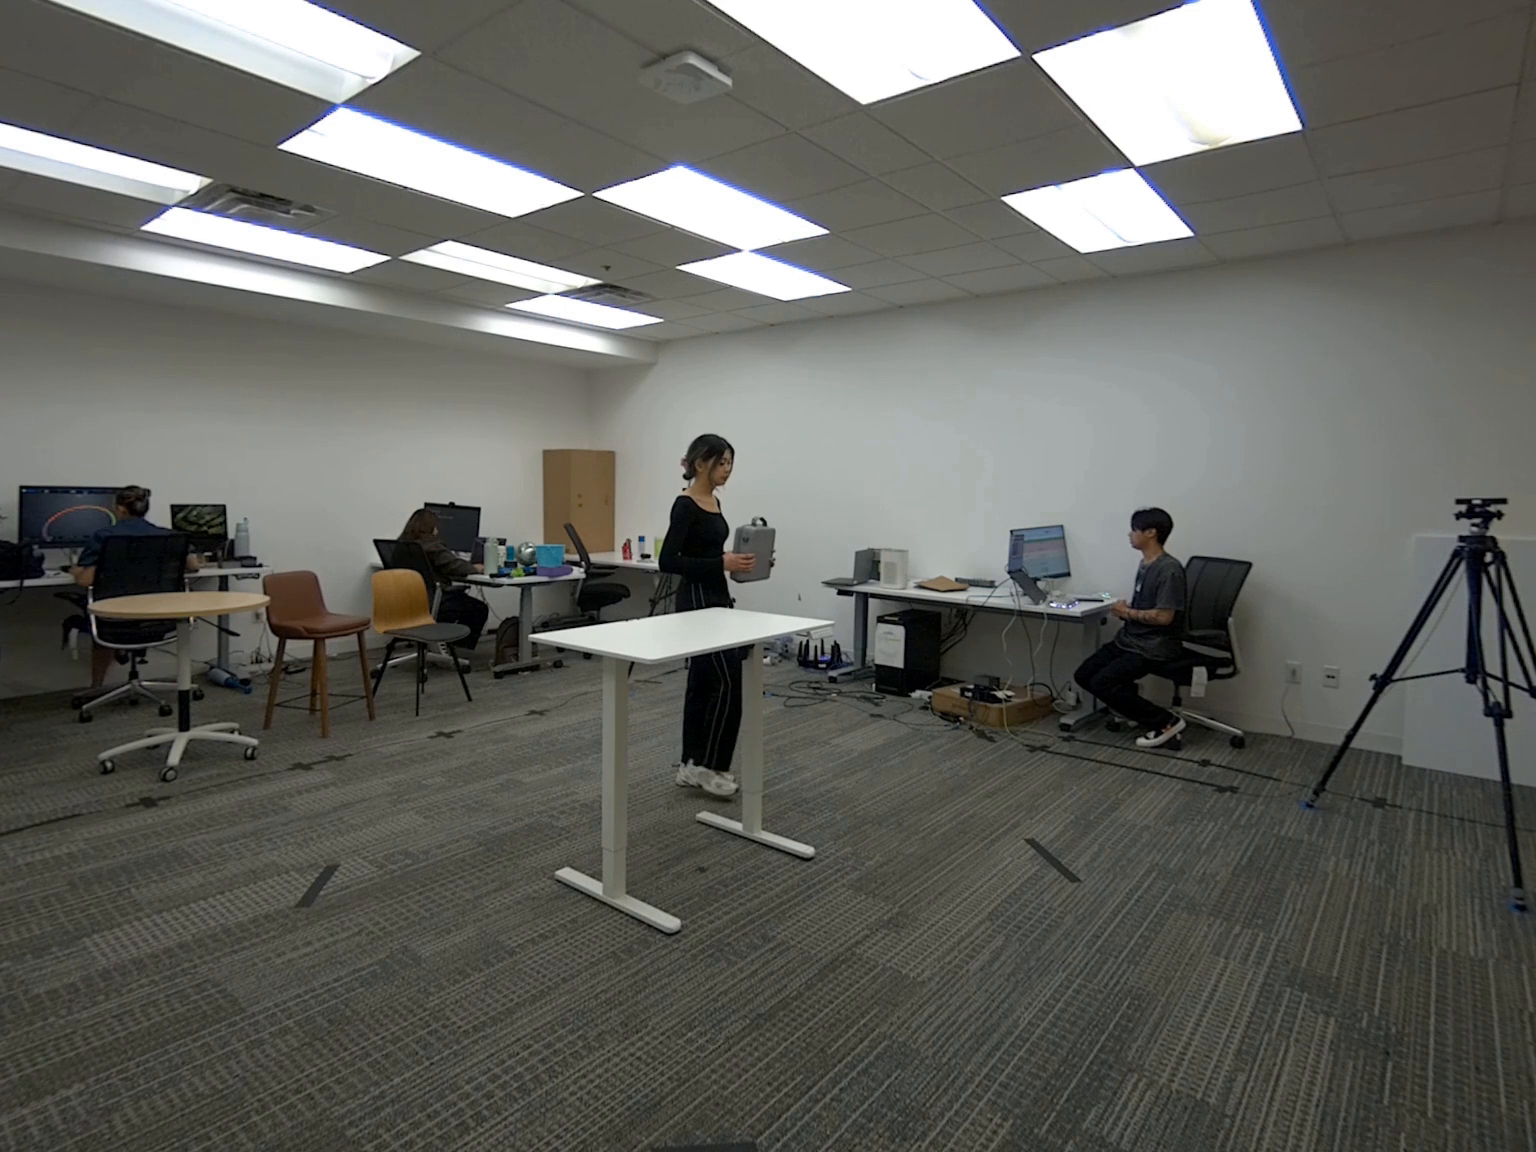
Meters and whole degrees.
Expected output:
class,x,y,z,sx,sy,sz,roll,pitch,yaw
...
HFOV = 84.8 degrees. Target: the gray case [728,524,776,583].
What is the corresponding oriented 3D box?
class,x,y,z,sx,sy,sz,roll,pitch,yaw
gray case,-0.078,-0.108,3.860,0.107,0.259,0.251,10,8,24
